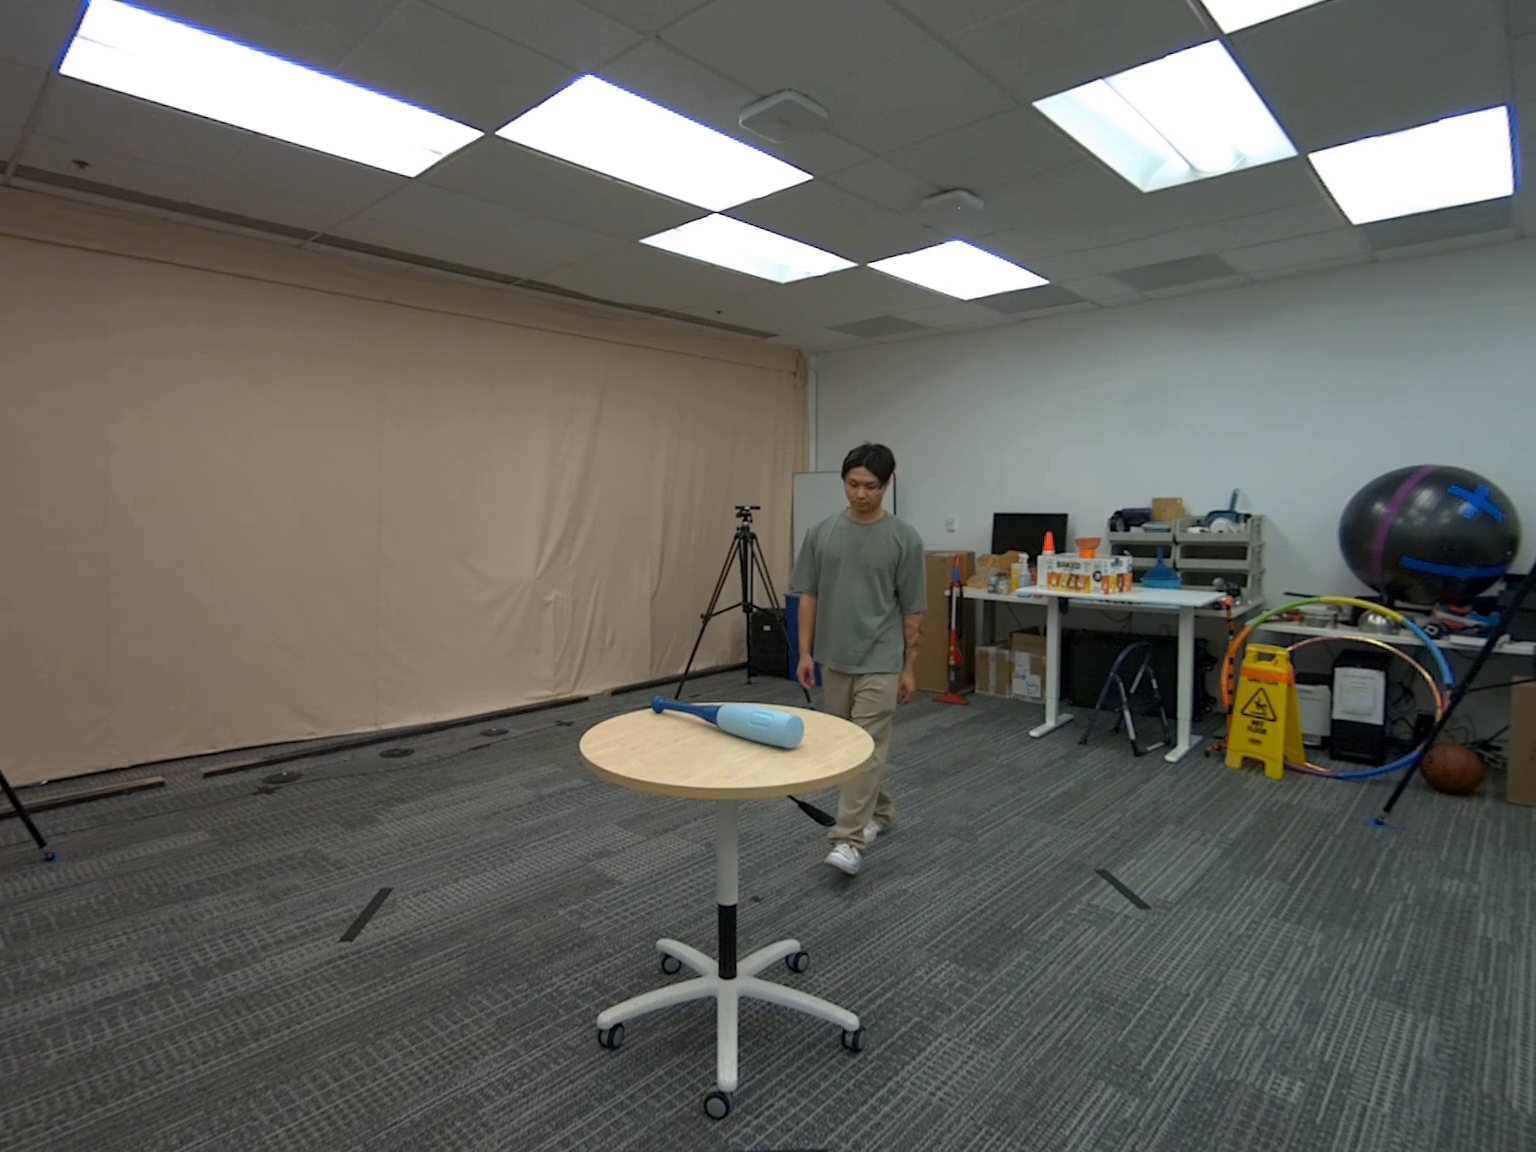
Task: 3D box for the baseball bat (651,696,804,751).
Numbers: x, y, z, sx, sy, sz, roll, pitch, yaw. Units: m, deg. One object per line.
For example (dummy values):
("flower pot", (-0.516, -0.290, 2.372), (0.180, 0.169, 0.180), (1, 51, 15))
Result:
("baseball bat", (-0.124, 0.382, 2.287), (0.561, 0.089, 0.086), (2, 4, 44))
